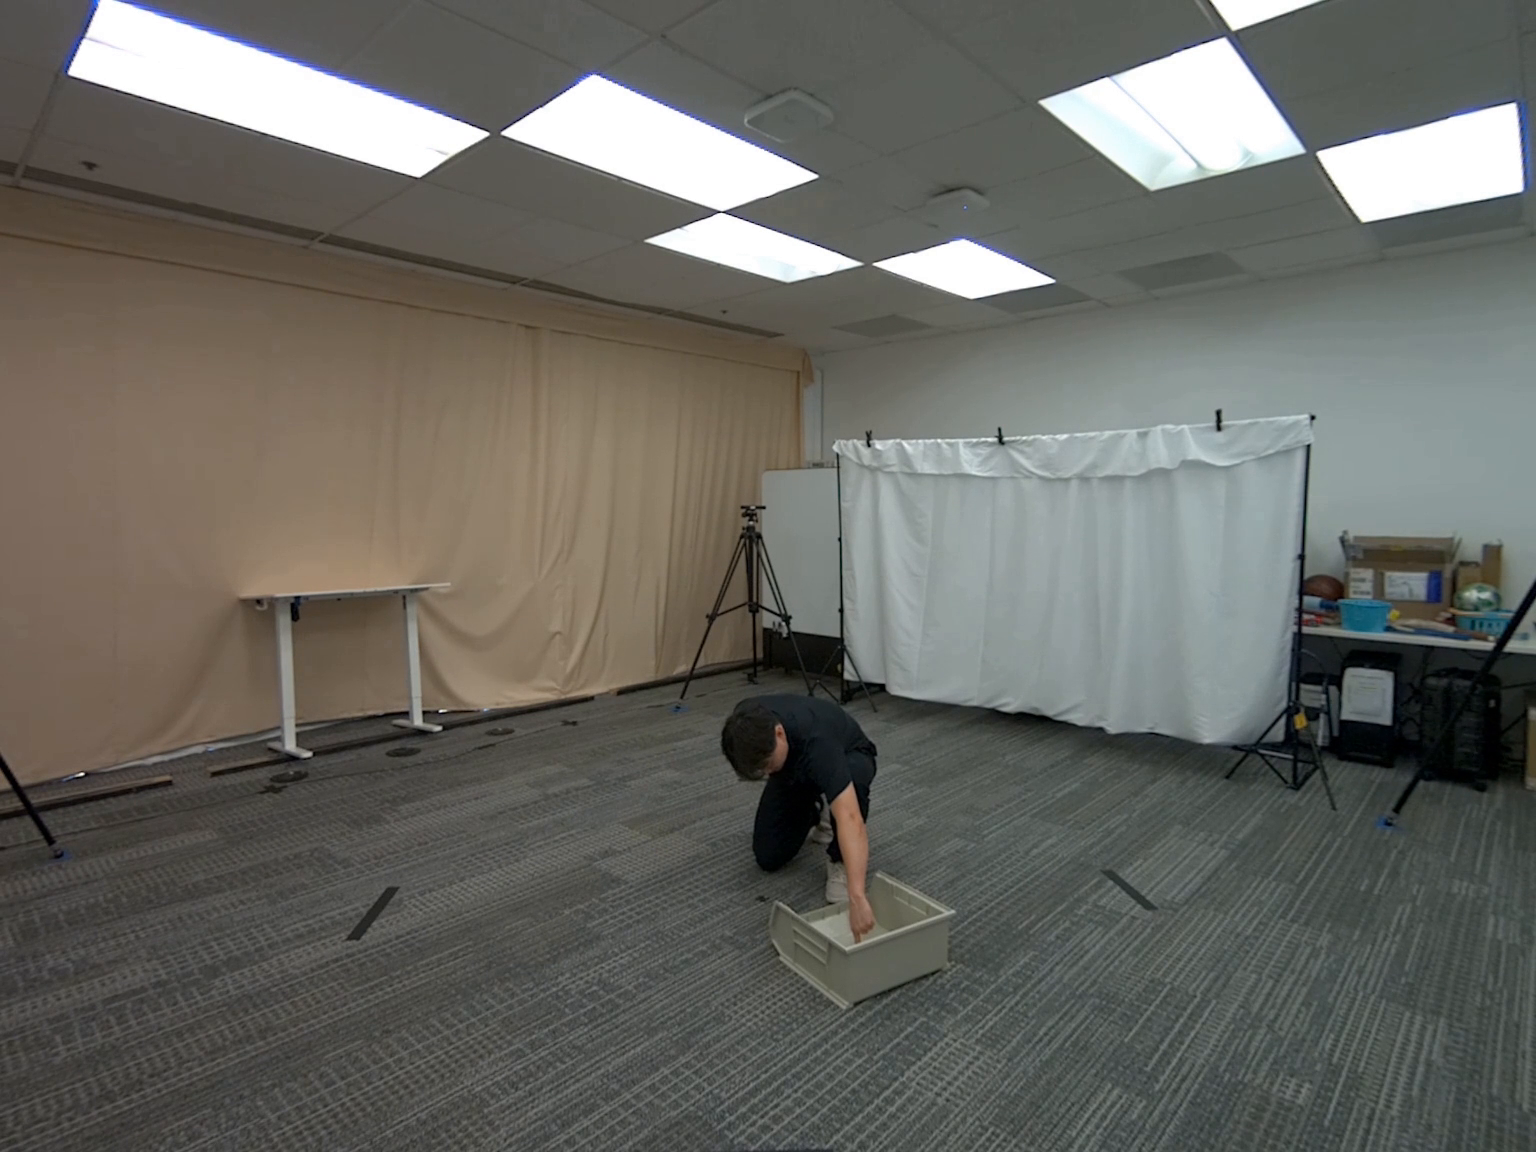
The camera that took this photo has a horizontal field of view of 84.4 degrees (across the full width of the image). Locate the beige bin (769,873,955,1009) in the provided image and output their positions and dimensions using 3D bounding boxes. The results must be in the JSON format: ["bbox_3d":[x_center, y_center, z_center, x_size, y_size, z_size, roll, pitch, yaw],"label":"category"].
[{"bbox_3d":[0.280,1.082,2.573,0.410,0.188,0.389,-2,6,-33],"label":"beige bin"}]
